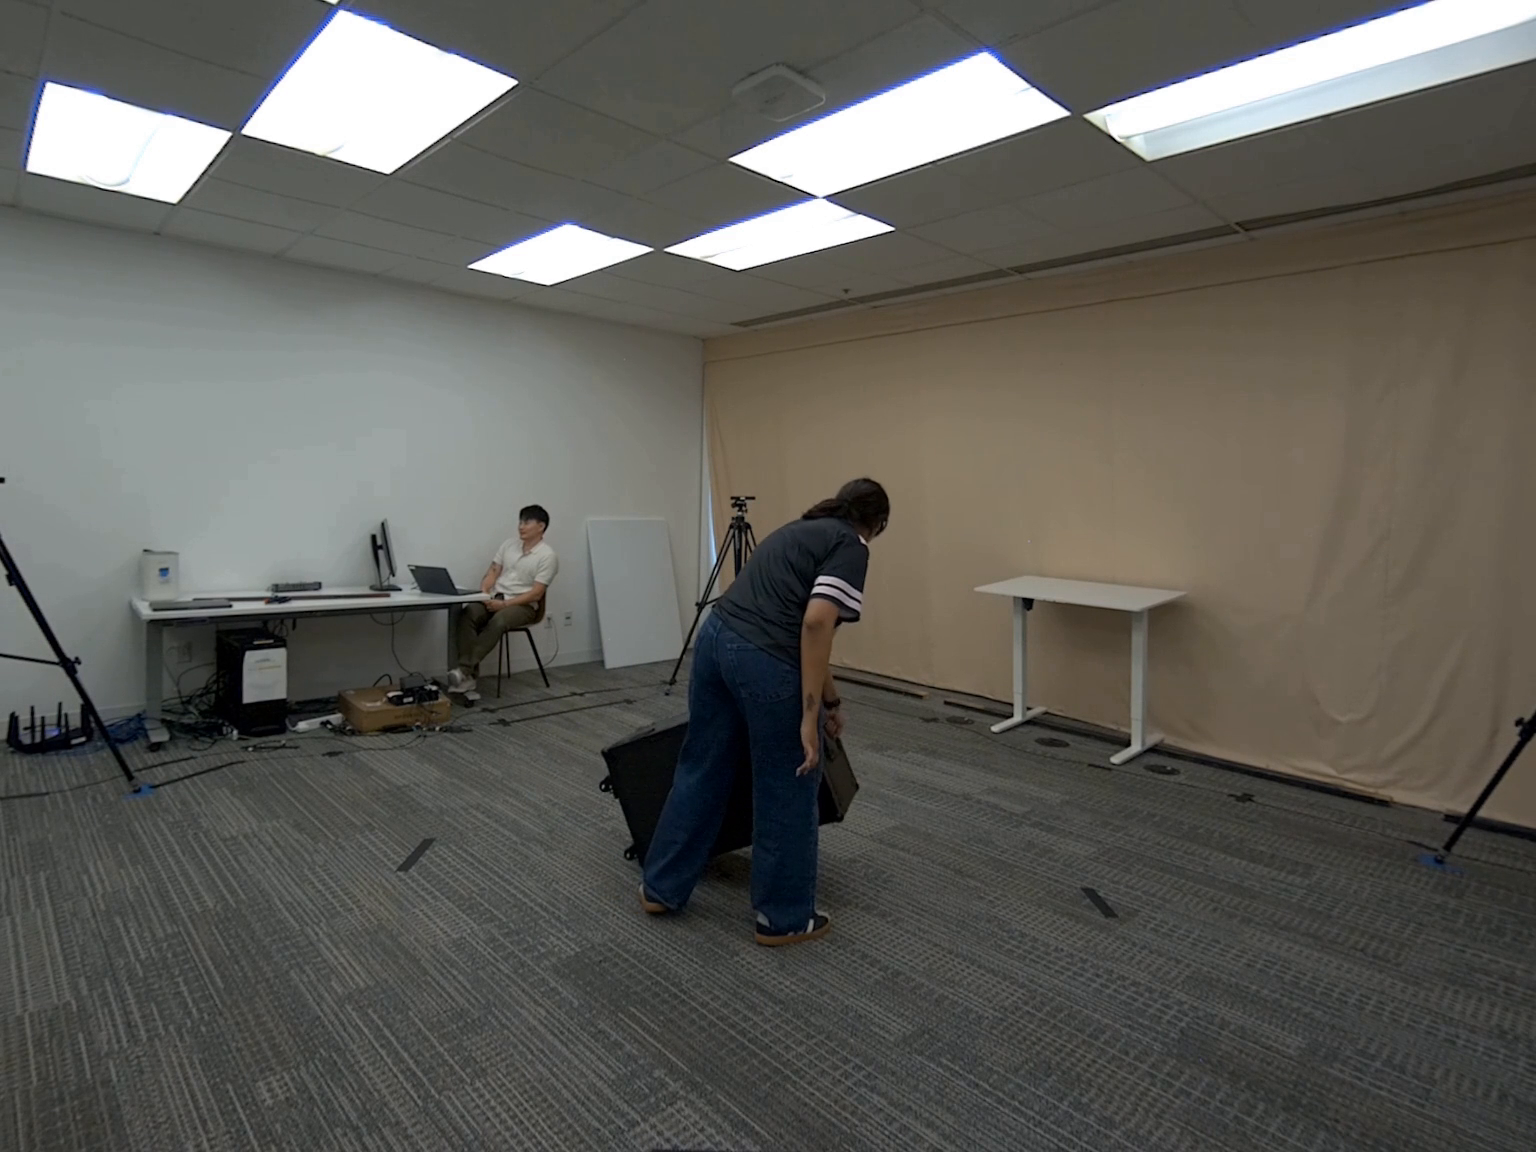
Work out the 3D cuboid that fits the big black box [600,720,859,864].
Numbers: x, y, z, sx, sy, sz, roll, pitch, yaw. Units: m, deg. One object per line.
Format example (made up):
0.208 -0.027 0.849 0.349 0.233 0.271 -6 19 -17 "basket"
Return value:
-0.174 0.737 3.158 0.875 0.525 0.381 -22 -2 17 "big black box"
